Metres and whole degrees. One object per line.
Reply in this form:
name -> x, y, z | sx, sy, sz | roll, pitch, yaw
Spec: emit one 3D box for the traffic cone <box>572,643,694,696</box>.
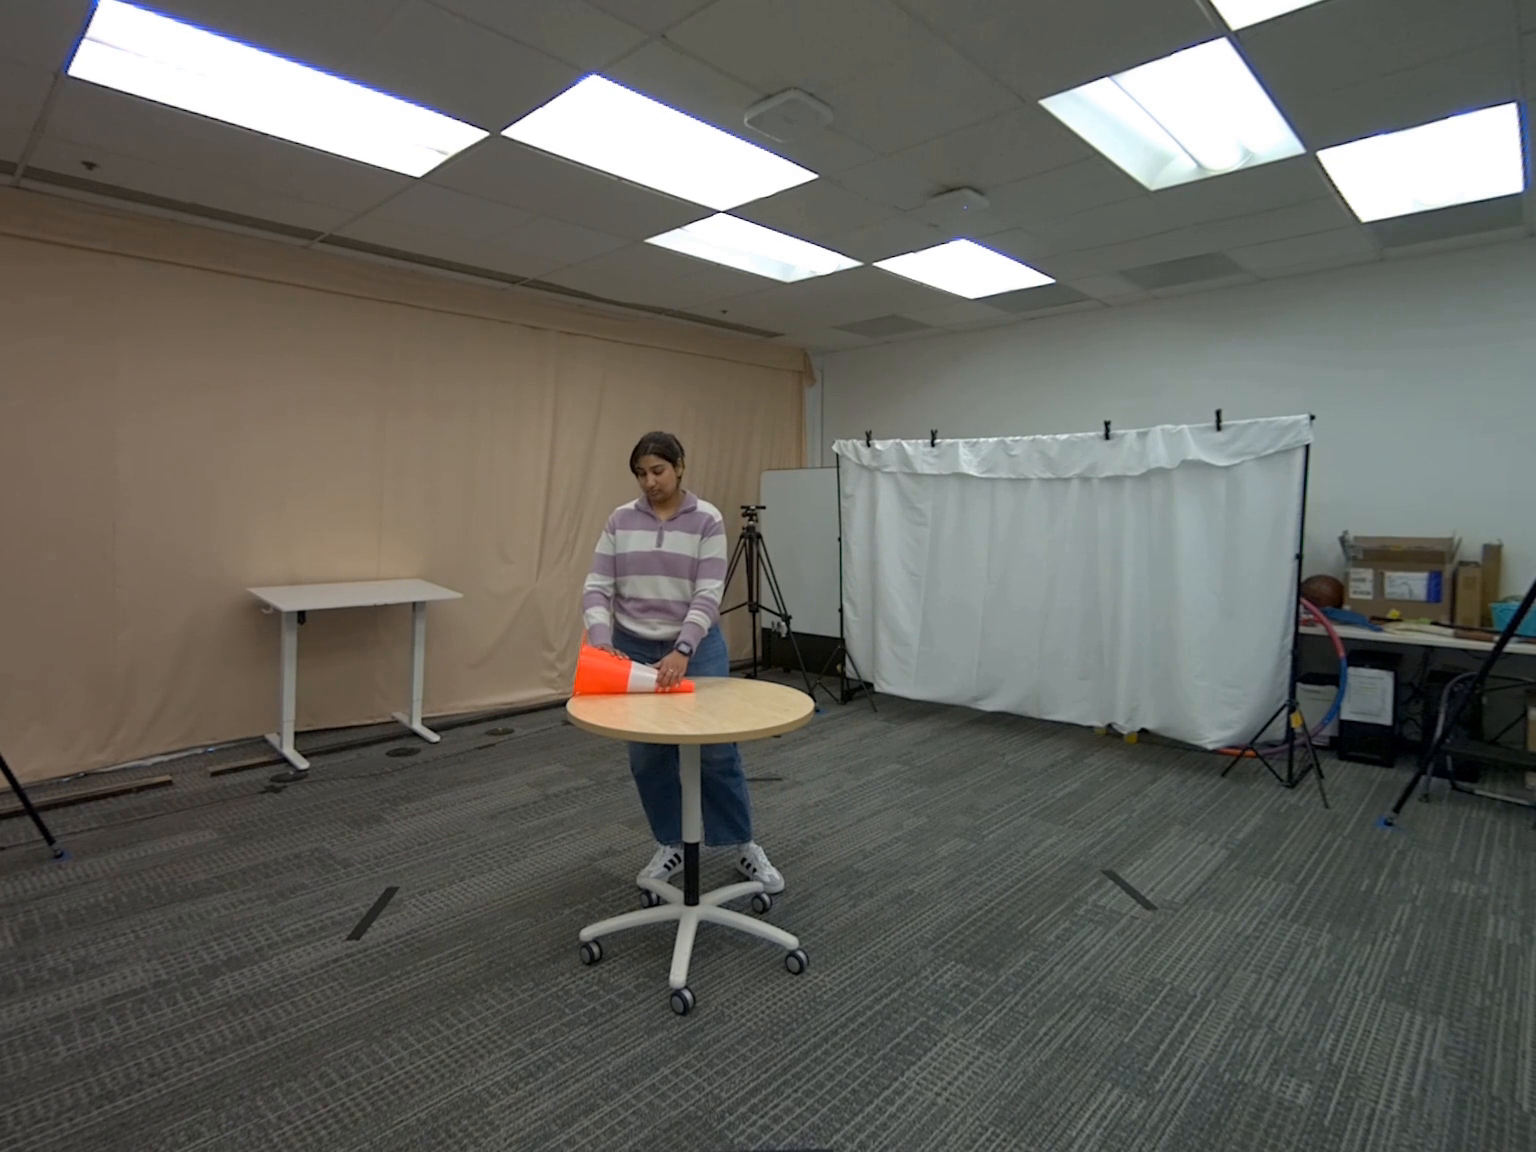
traffic cone -> -0.426, 0.332, 2.751 | 0.381, 0.208, 0.202 | 11, -42, -7
